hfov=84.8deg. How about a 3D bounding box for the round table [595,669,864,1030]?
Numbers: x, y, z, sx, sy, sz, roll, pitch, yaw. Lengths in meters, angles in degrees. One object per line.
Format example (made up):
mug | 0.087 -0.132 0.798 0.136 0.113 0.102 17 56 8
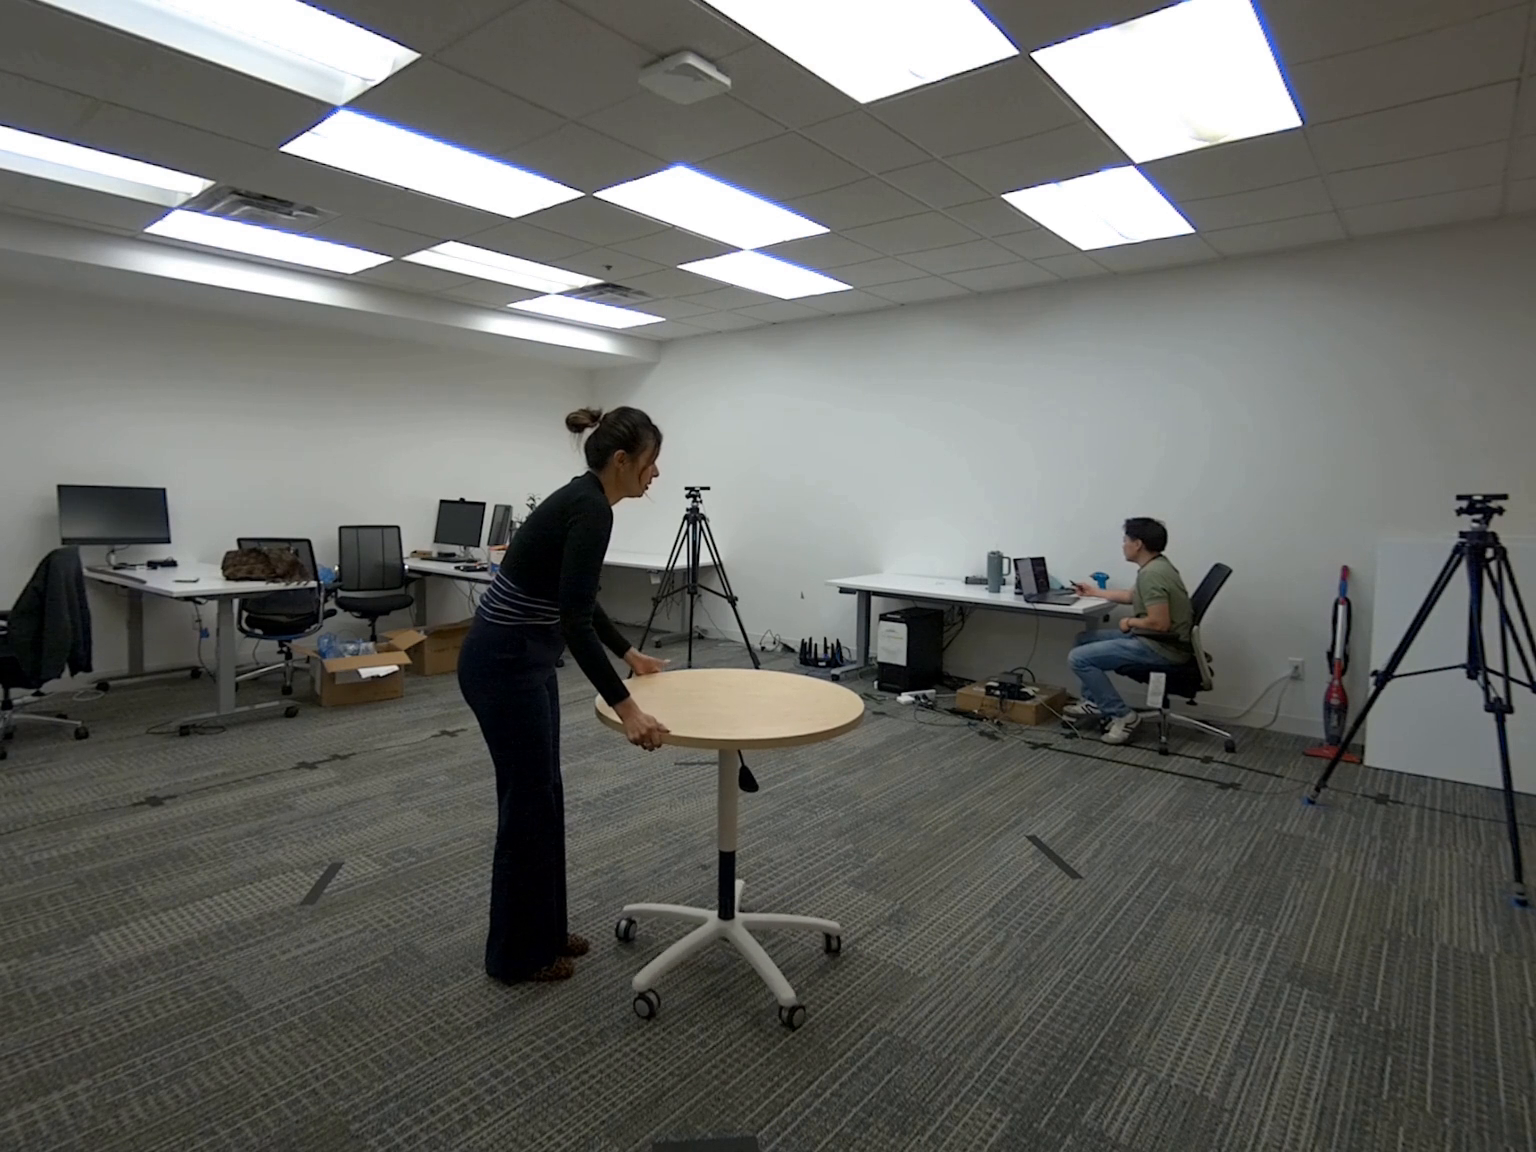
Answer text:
round table | -0.124 0.745 2.465 0.763 0.791 0.768 0 5 -2
